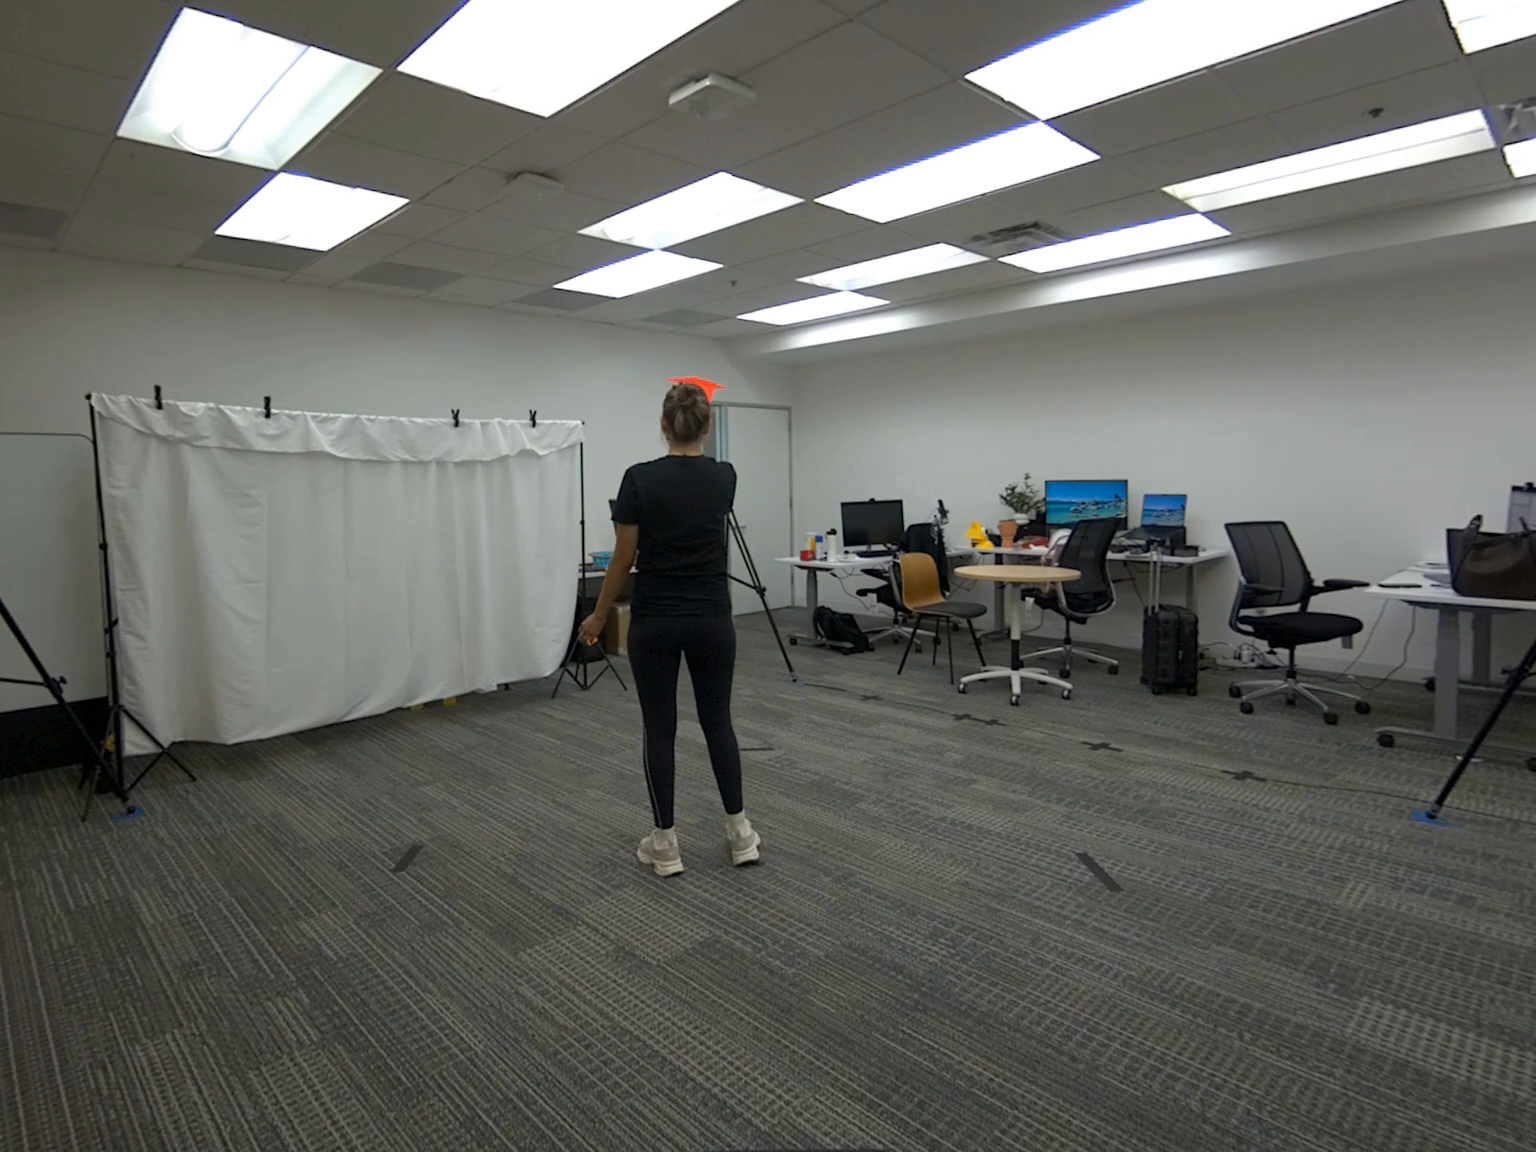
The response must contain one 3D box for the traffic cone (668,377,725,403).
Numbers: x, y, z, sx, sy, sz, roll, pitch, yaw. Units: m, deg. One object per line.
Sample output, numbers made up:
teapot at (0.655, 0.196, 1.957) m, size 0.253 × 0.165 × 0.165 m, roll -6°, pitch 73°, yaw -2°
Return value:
traffic cone at (-0.322, -0.631, 3.609) m, size 0.197 × 0.383 × 0.212 m, roll 7°, pitch 2°, yaw -43°
